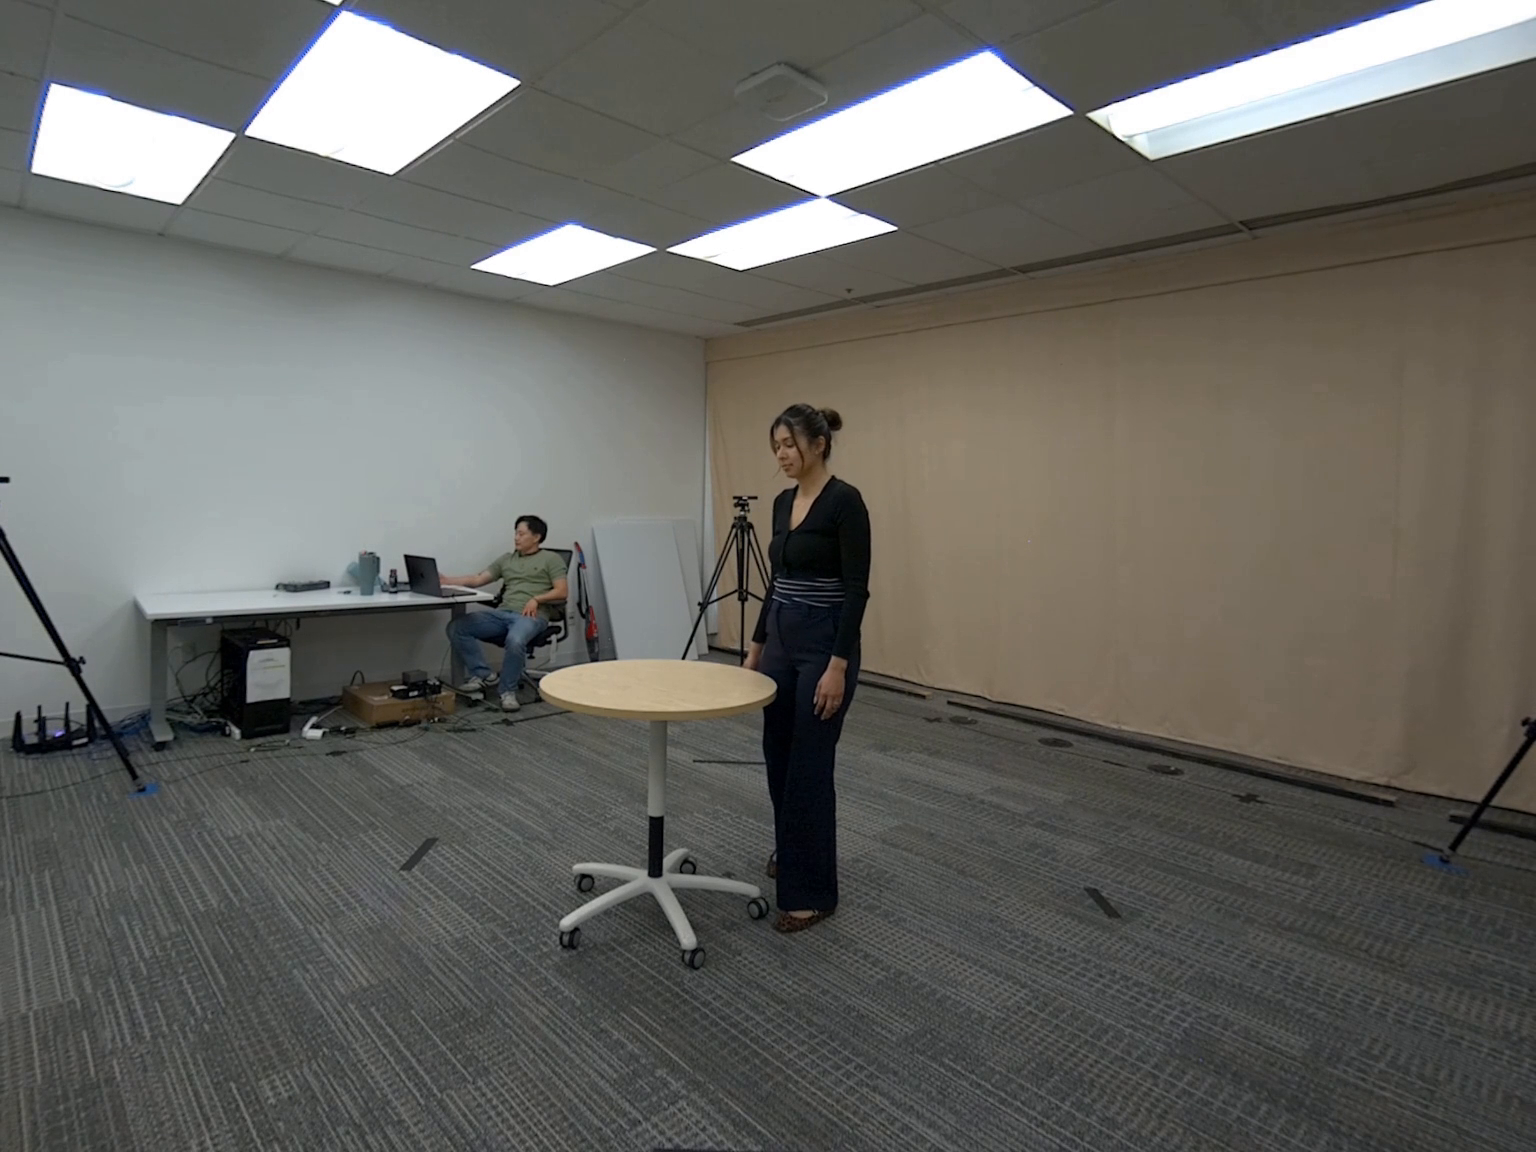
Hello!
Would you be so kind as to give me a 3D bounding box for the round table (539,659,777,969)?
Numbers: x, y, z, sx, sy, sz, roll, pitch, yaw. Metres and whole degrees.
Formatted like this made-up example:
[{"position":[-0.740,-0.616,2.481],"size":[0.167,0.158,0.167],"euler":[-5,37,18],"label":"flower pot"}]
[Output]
[{"position":[-0.373,0.741,2.754],"size":[0.763,0.792,0.767],"euler":[1,4,-1],"label":"round table"}]
